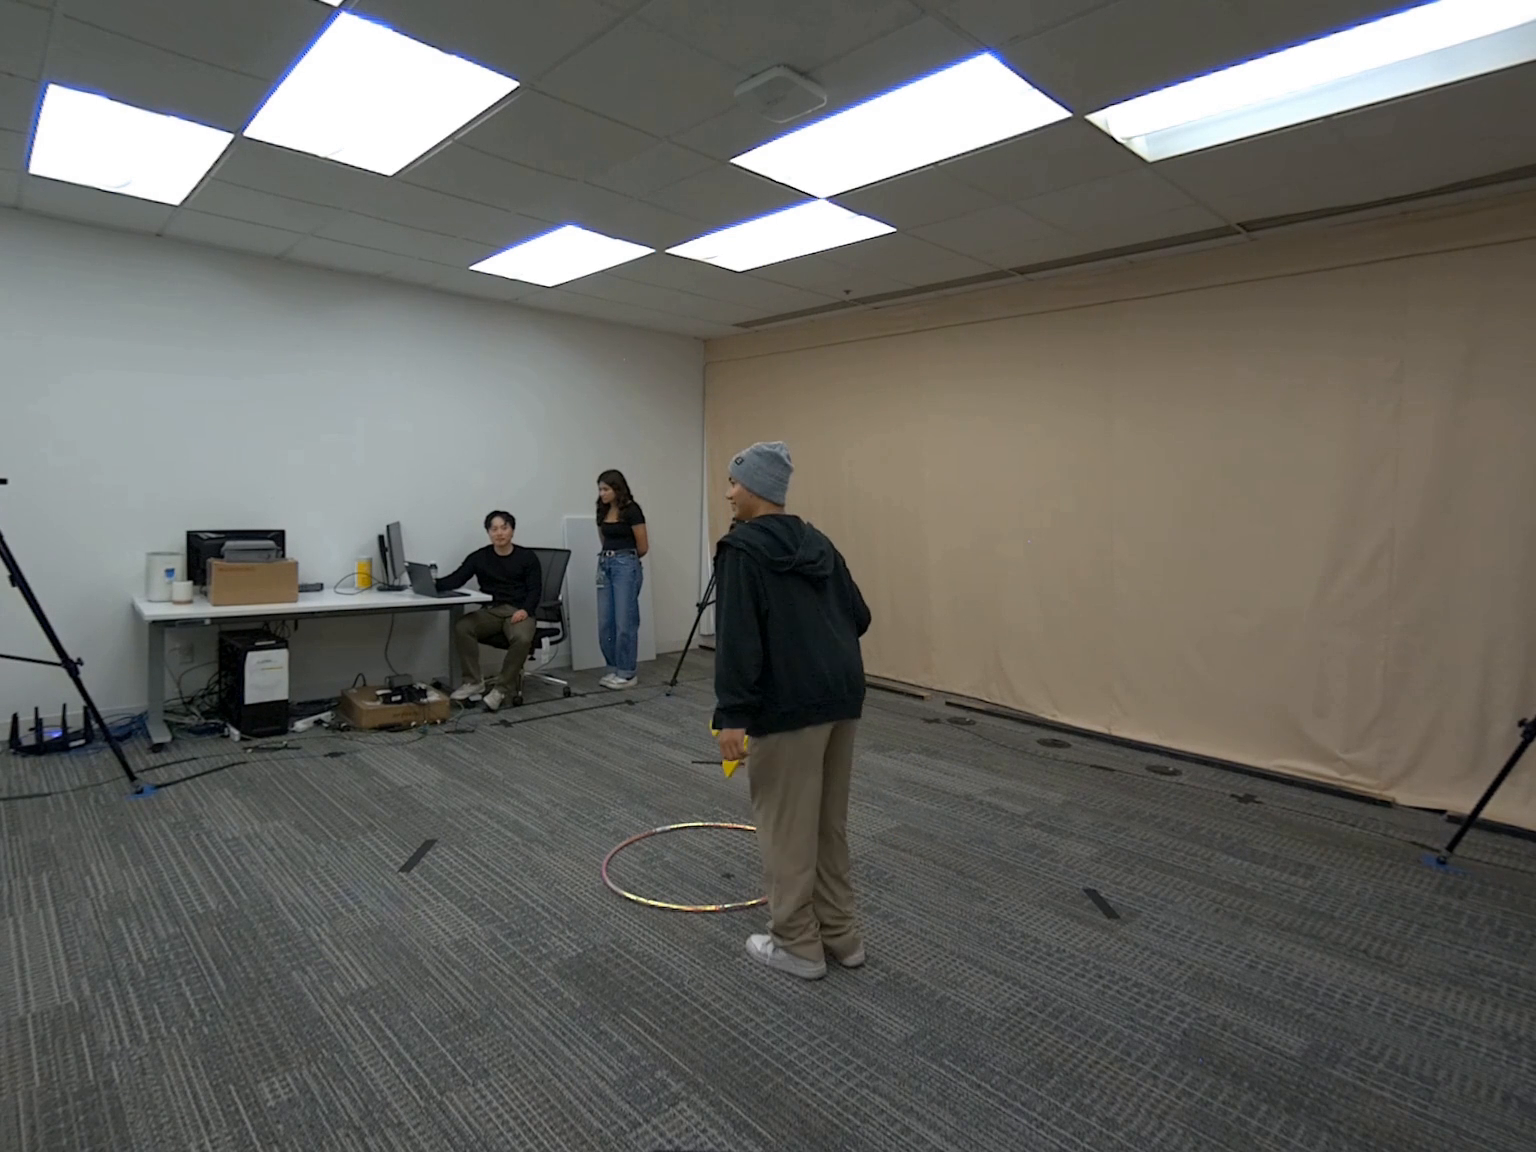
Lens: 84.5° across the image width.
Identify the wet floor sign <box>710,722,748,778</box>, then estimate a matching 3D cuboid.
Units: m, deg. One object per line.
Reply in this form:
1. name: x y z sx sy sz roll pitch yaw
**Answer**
1. wet floor sign: 0.023 0.415 3.133 0.284 0.639 0.290 7 31 -22
